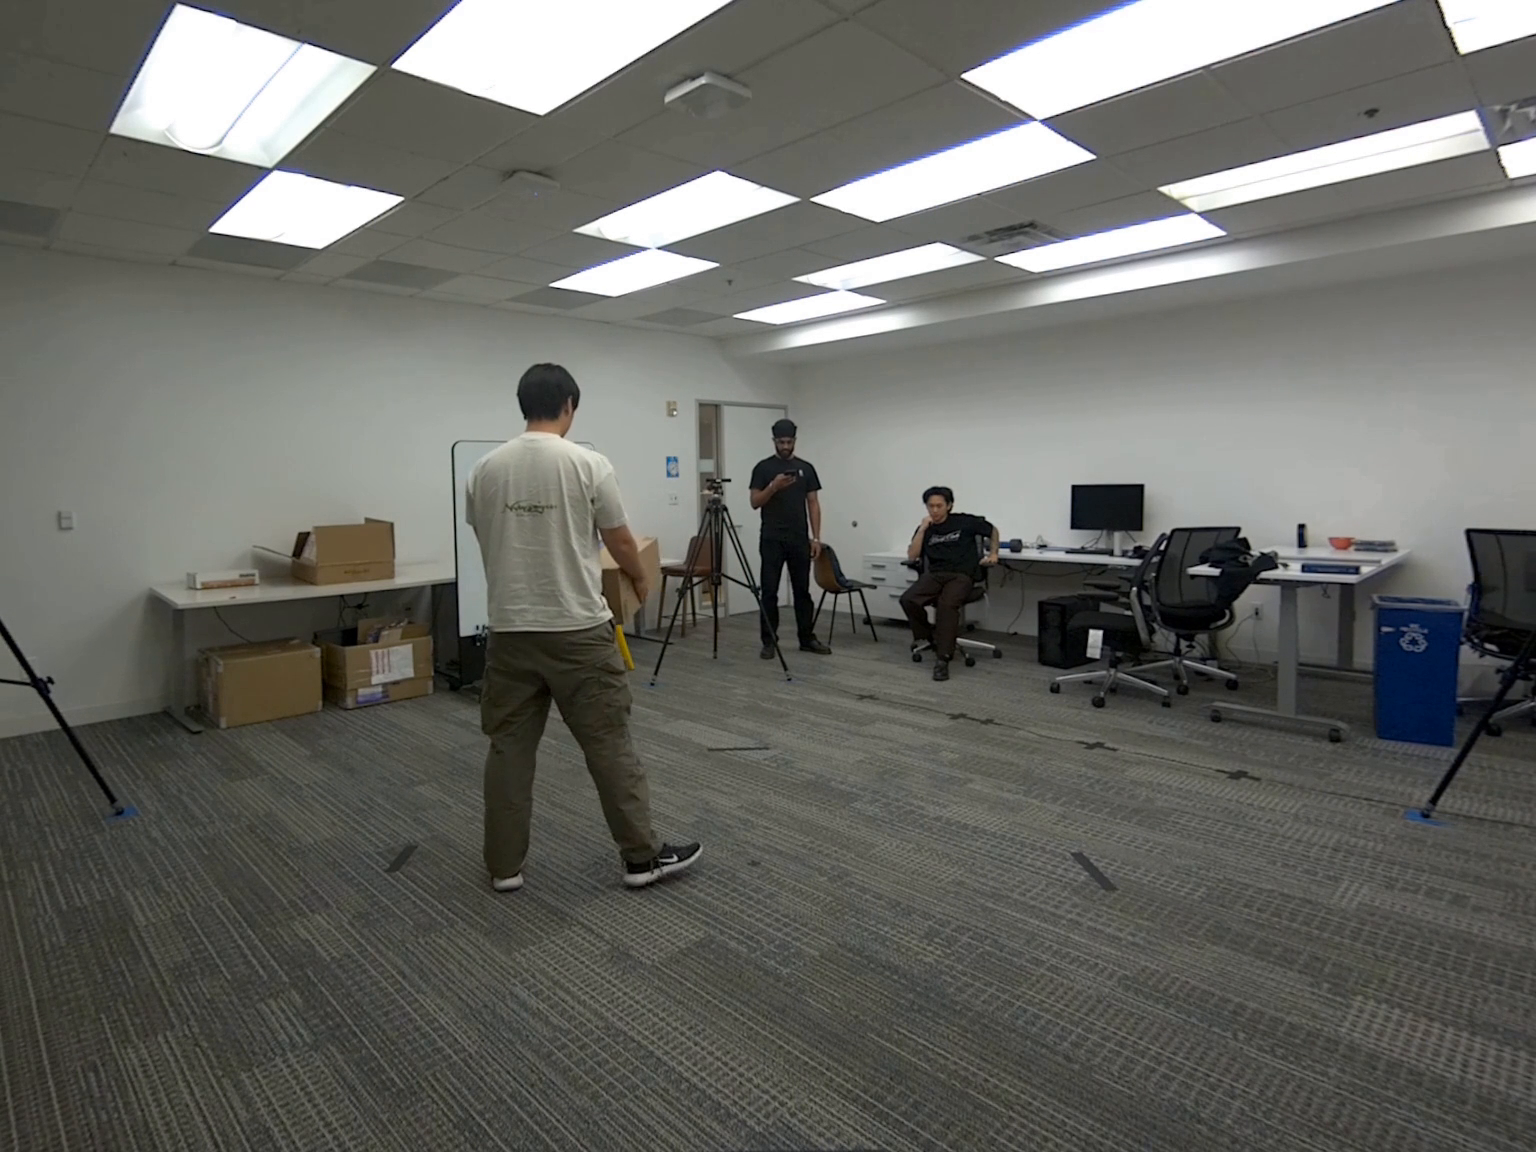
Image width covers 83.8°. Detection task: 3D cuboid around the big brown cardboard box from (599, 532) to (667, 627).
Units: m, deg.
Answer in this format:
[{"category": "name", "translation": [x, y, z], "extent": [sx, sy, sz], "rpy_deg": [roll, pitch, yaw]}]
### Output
[{"category": "big brown cardboard box", "translation": [-0.701, 0.008, 3.457], "extent": [0.422, 0.230, 0.590], "rpy_deg": [-3, 14, 10]}]
